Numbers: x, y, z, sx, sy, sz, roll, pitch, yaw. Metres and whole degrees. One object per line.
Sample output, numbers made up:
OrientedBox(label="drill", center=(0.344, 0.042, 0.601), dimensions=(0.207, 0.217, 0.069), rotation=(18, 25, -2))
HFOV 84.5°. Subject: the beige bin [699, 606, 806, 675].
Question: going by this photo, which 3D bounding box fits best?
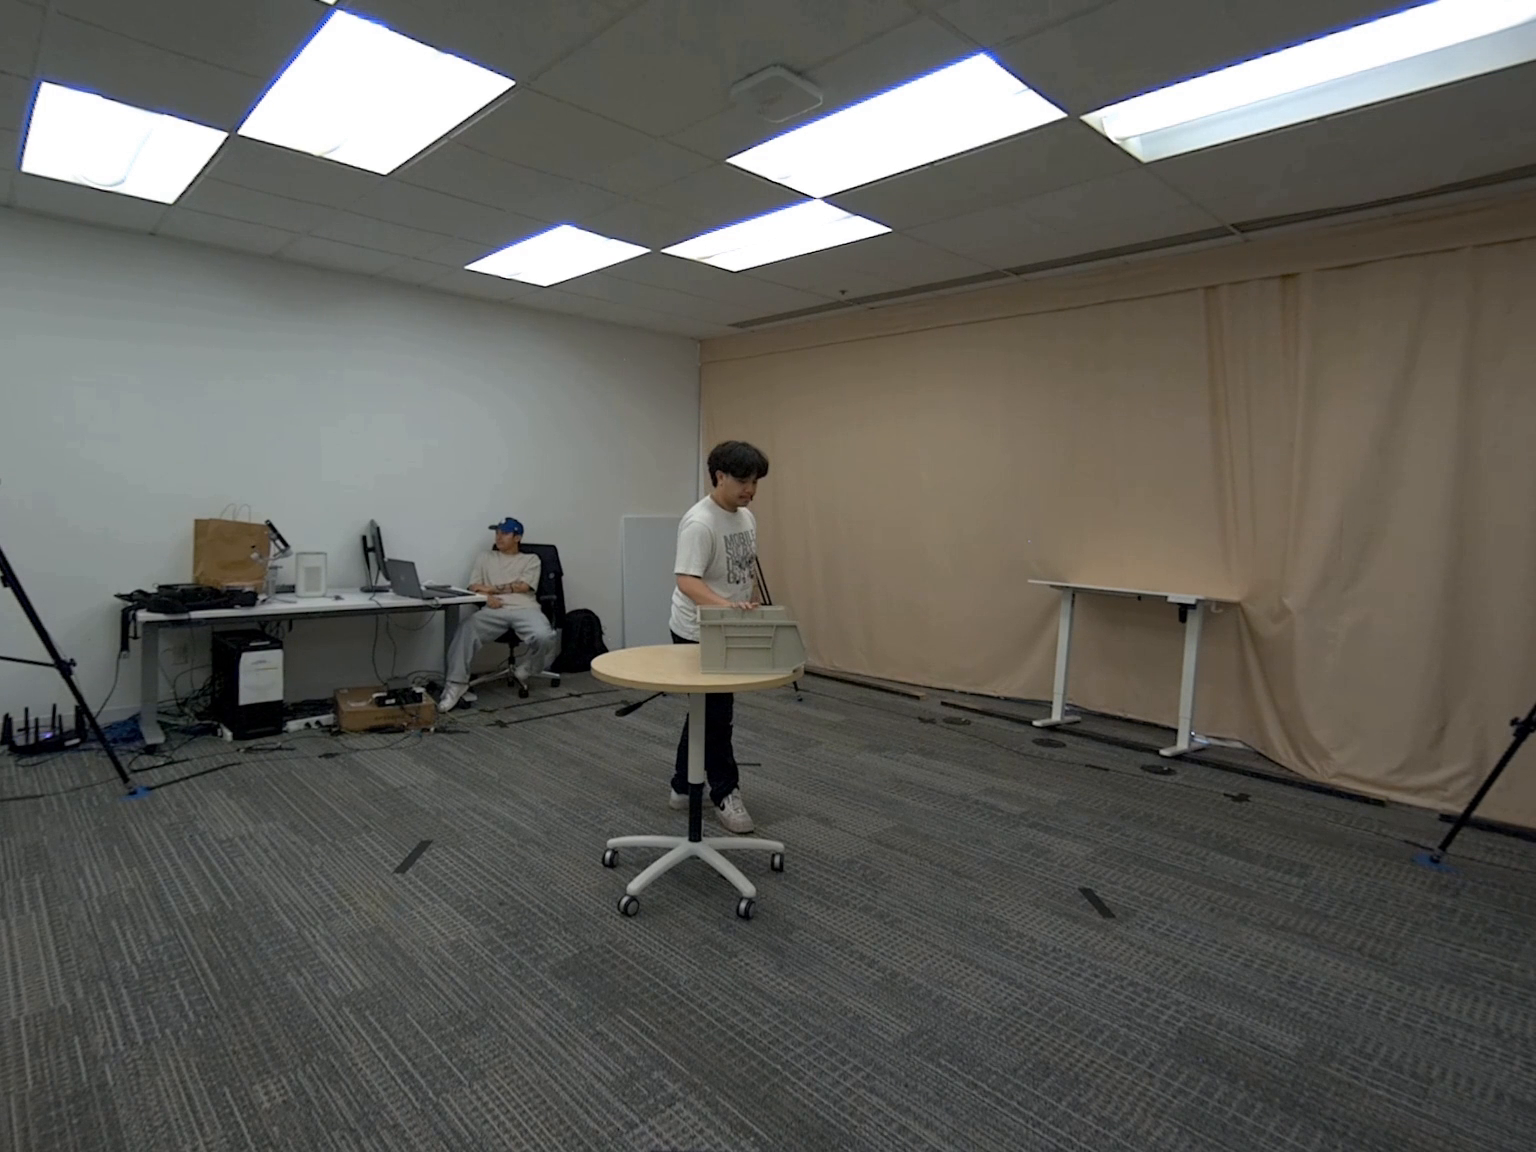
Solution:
OrientedBox(label="beige bin", center=(-0.076, 0.226, 3.051), dimensions=(0.376, 0.188, 0.425), rotation=(0, 5, -4))
